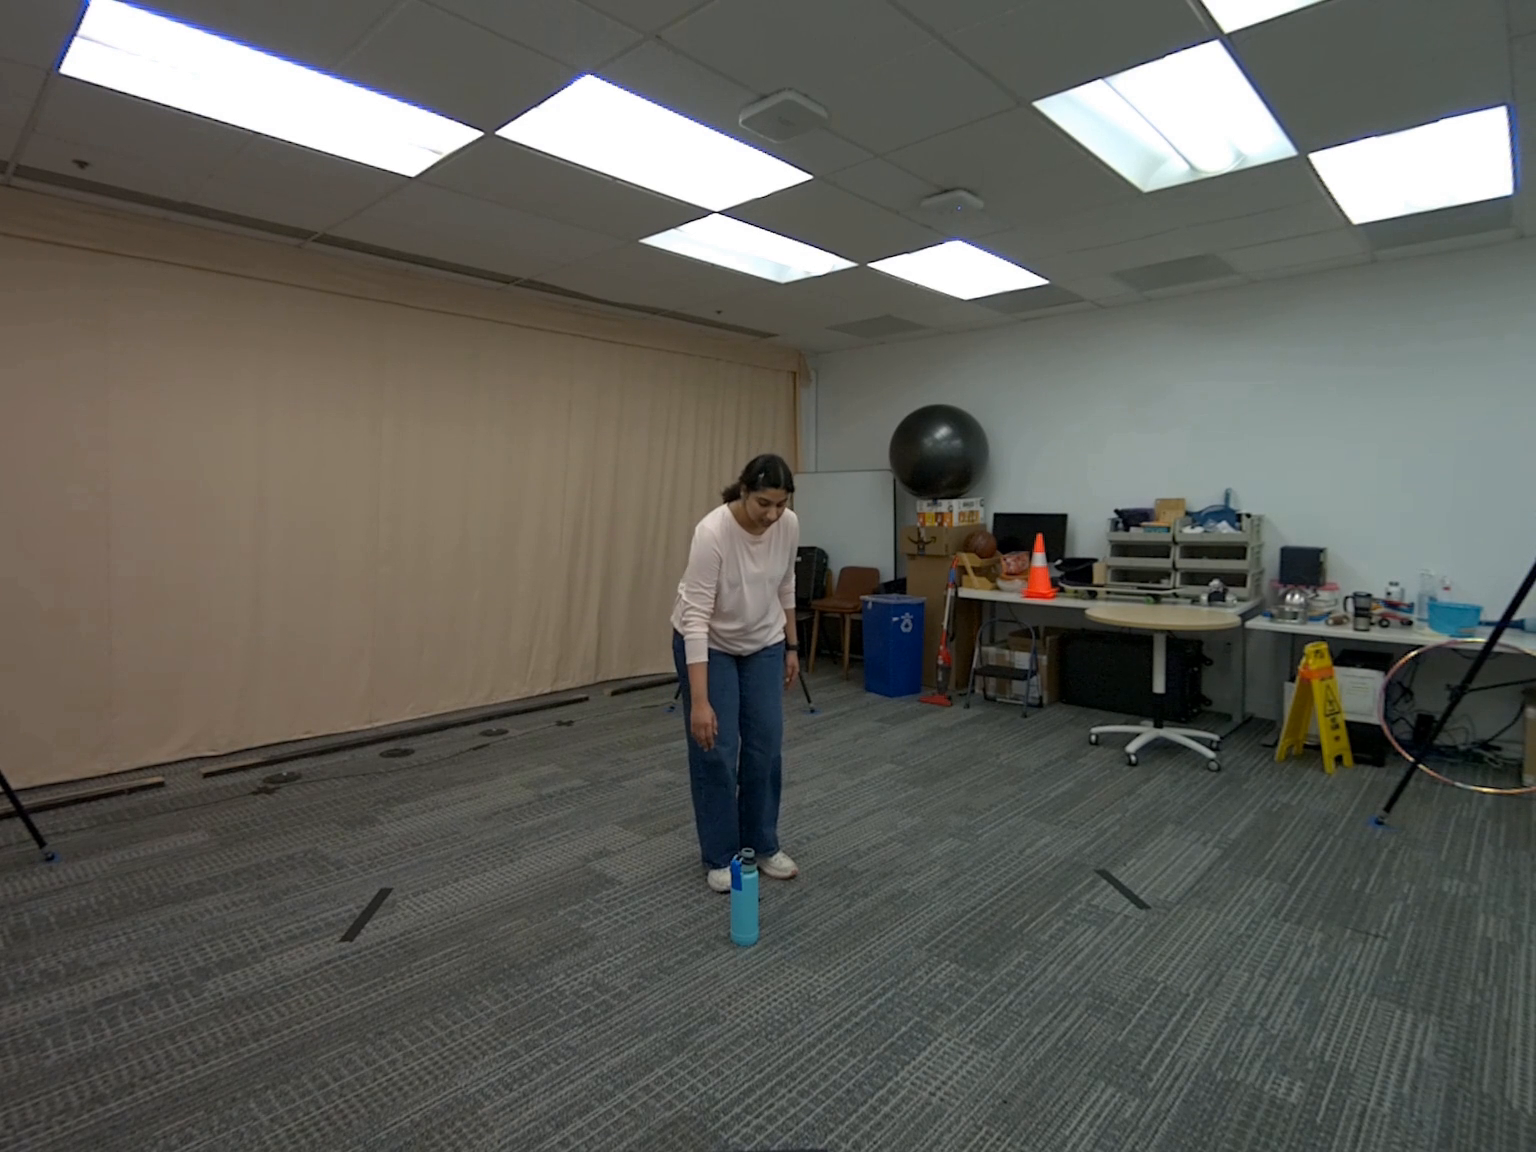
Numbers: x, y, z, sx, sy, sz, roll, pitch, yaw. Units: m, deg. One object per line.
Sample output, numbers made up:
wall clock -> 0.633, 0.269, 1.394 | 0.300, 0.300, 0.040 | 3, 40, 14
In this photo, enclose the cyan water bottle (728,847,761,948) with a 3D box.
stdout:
cyan water bottle -> -0.079, 1.023, 2.707 | 0.092, 0.282, 0.093 | -1, 4, -2
